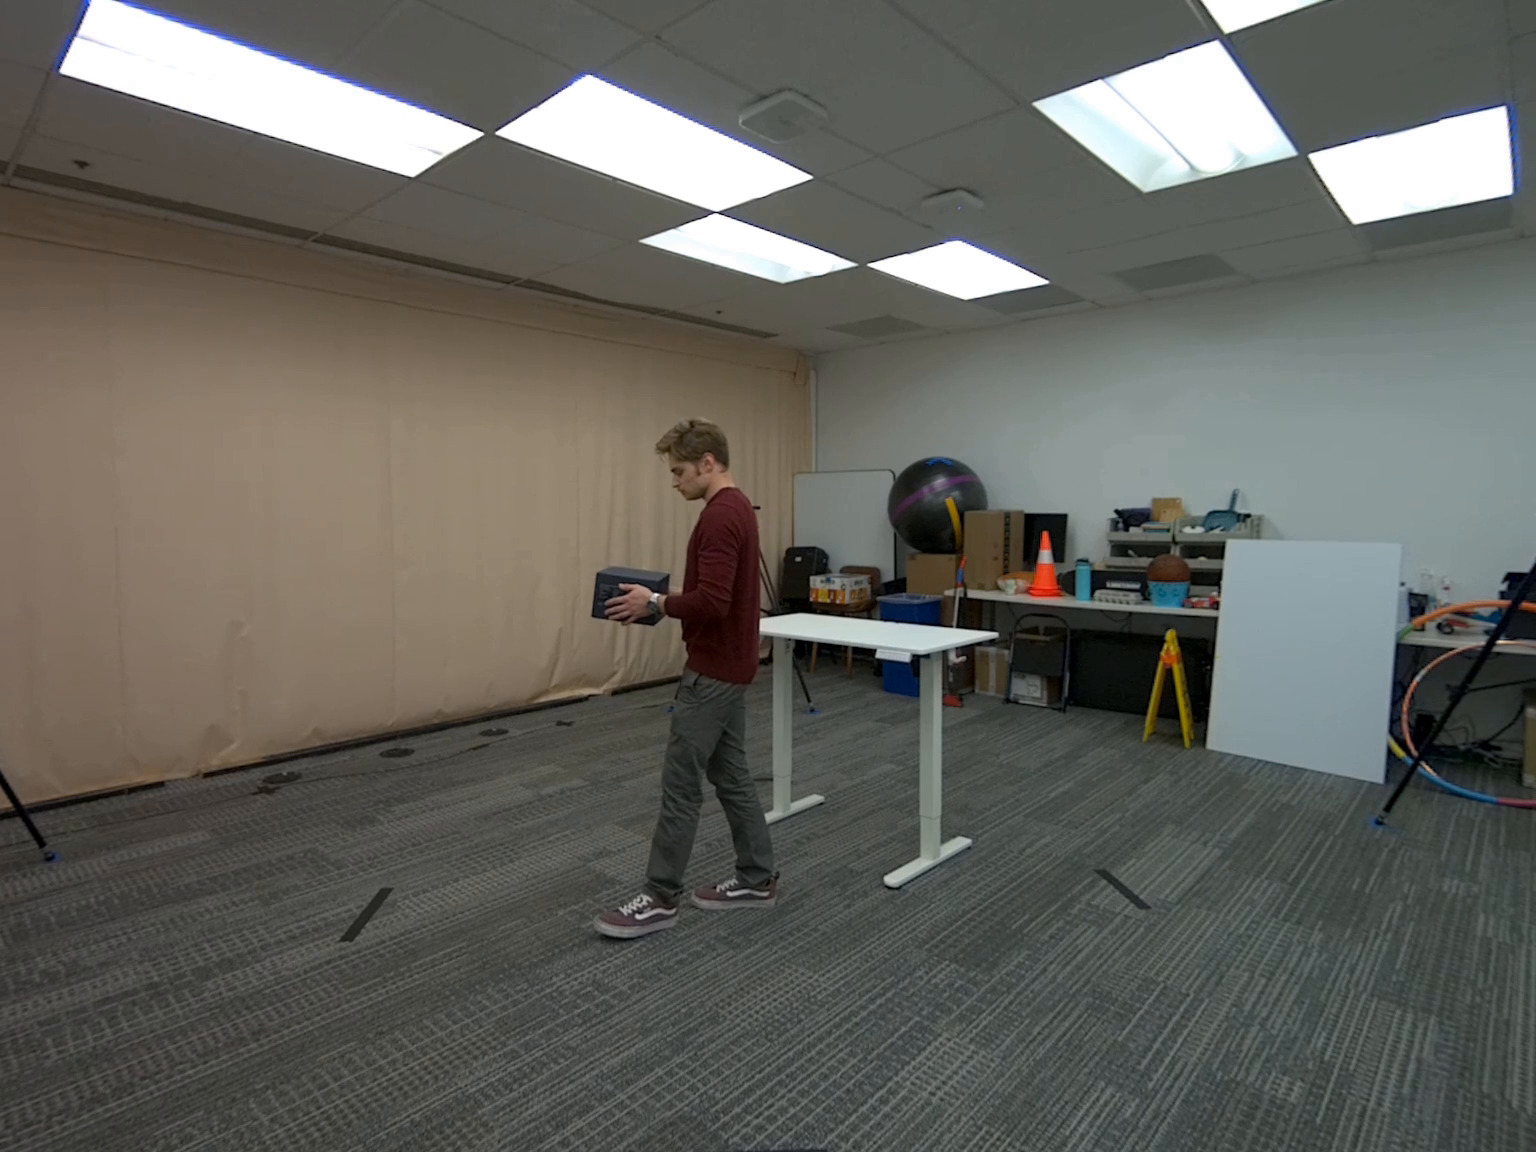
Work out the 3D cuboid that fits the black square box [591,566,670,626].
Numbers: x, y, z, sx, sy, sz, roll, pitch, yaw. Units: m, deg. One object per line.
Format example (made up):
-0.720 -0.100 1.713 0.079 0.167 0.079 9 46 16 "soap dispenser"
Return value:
-0.477 0.063 2.909 0.219 0.155 0.227 6 7 6 "black square box"
